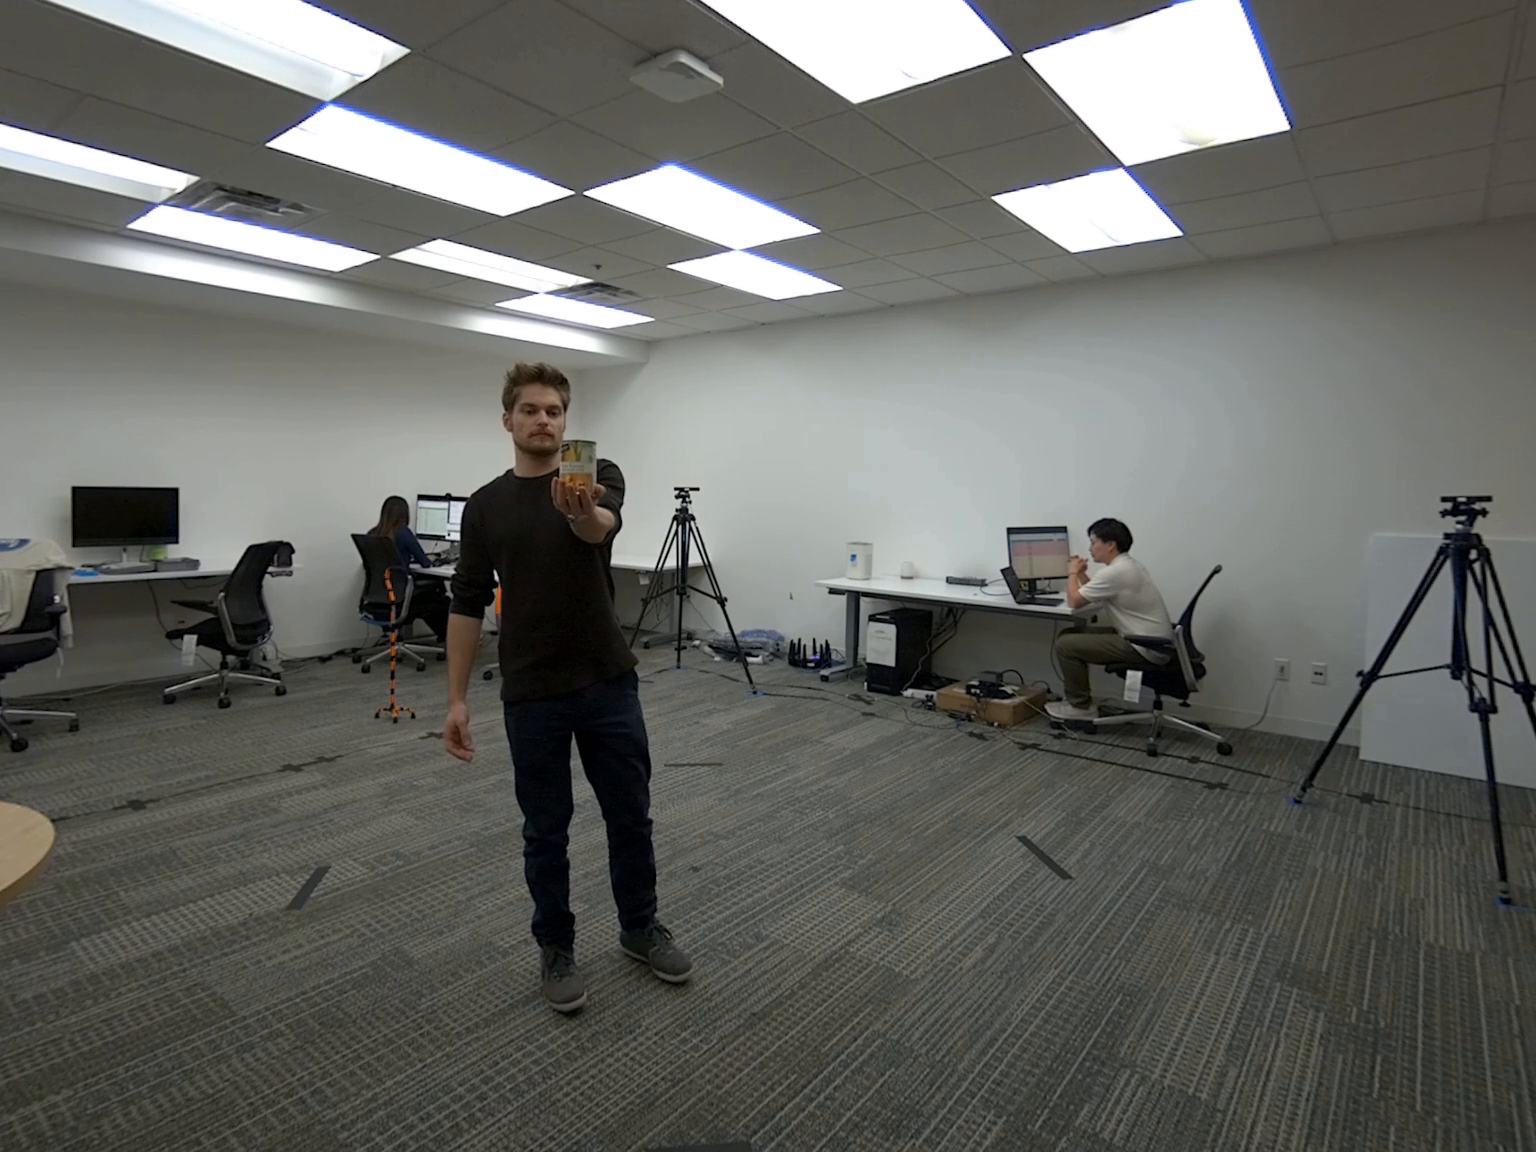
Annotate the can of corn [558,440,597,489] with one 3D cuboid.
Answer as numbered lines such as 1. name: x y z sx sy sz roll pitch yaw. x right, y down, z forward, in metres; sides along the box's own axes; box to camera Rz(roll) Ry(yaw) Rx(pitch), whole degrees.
1. can of corn: -0.395 -0.221 1.748 0.074 0.111 0.074 1 0 -2
